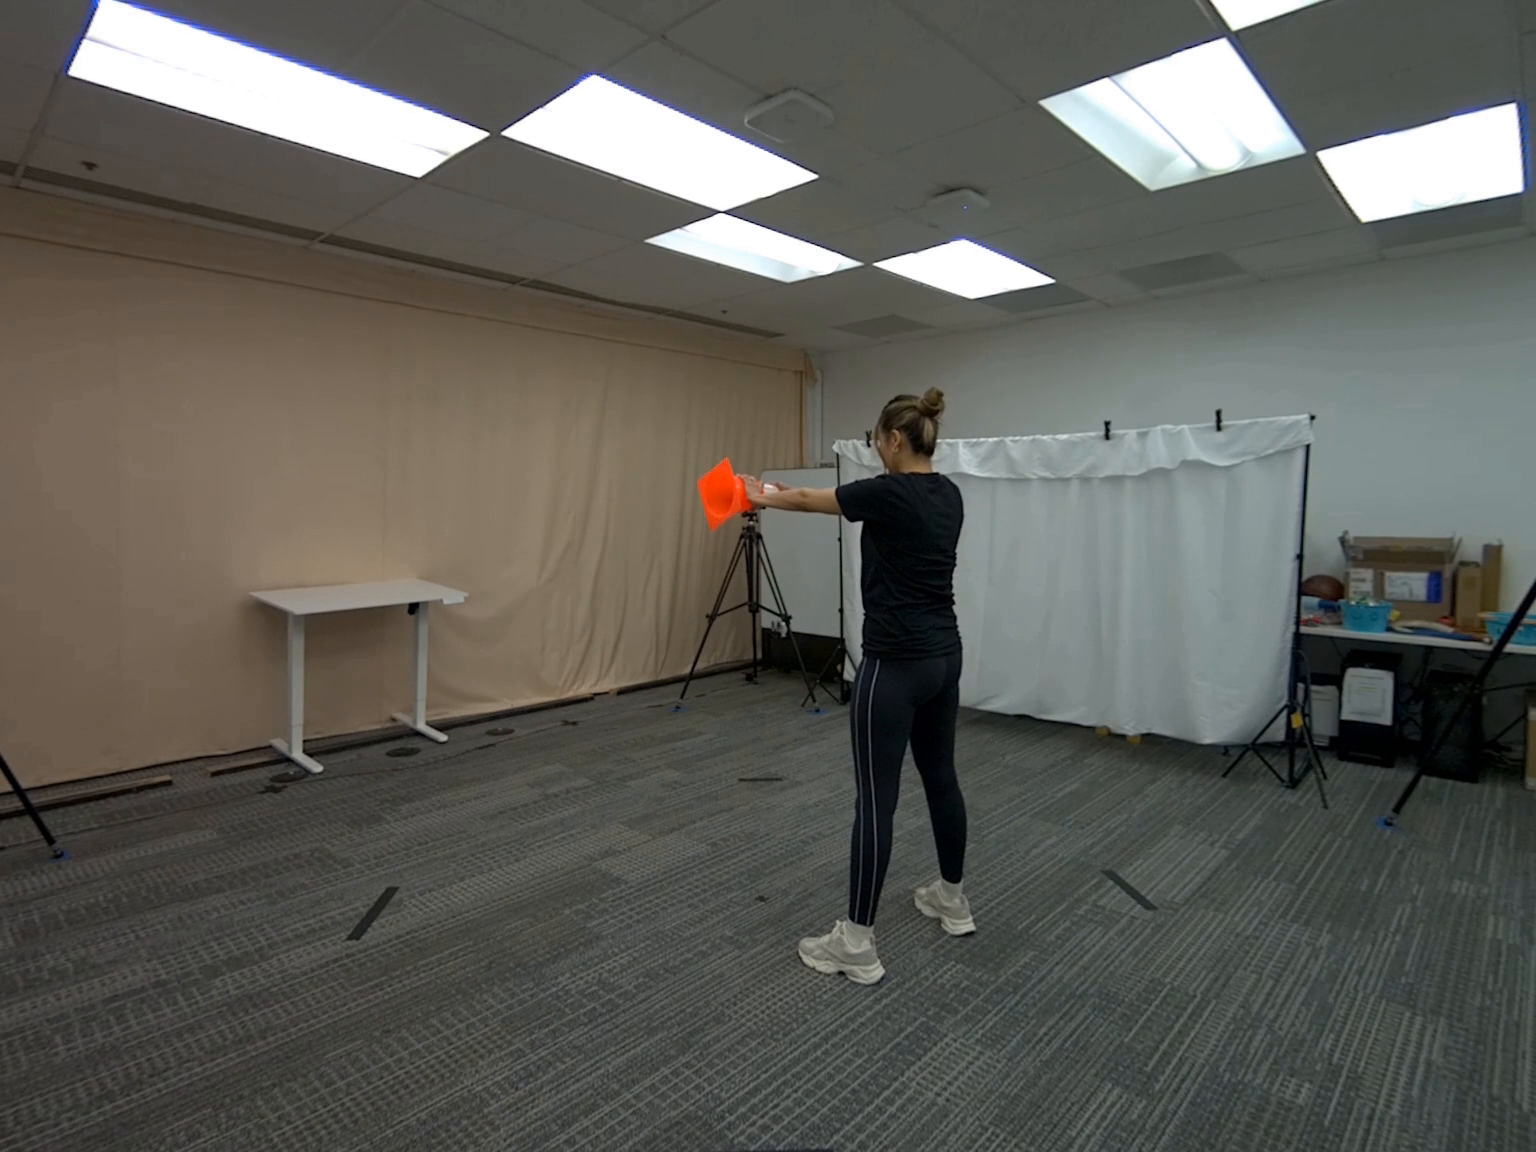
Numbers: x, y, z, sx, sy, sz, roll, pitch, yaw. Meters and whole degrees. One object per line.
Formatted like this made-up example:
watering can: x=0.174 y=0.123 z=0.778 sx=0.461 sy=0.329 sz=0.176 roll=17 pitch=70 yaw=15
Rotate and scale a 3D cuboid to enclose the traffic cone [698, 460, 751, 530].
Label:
traffic cone: x=-0.021 y=-0.290 z=3.085 sx=0.372 sy=0.208 sz=0.206 roll=-2 pitch=-21 yaw=-38
